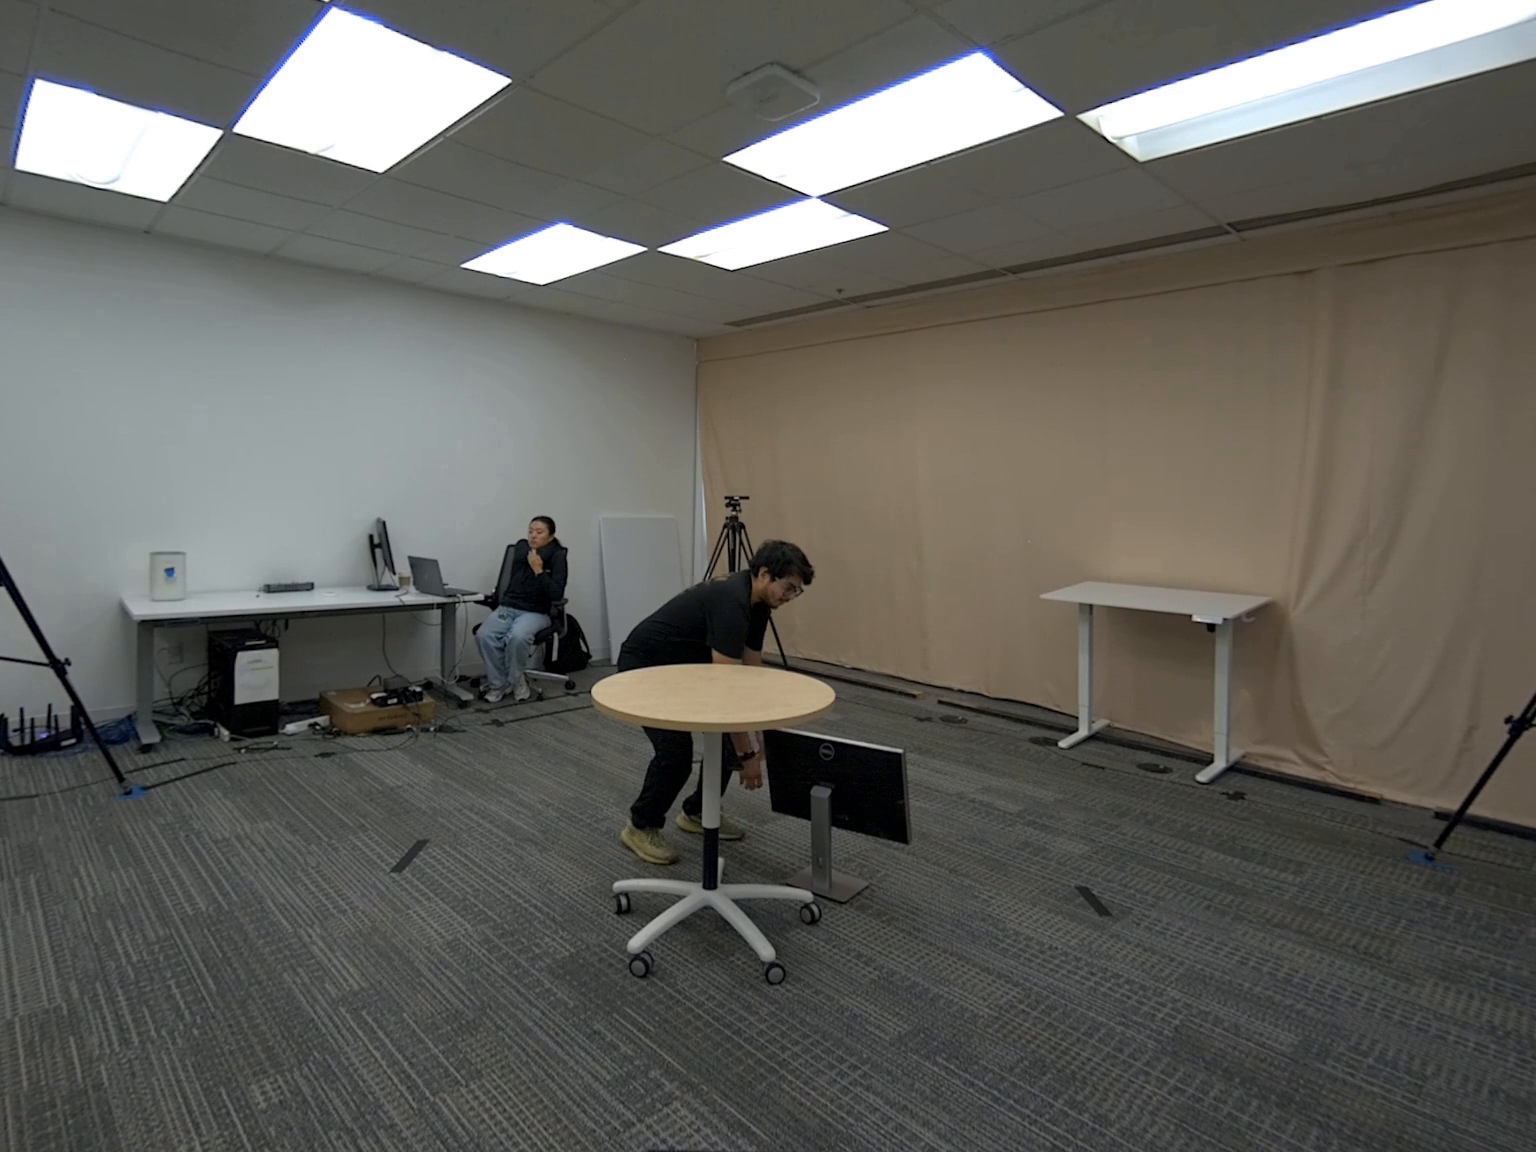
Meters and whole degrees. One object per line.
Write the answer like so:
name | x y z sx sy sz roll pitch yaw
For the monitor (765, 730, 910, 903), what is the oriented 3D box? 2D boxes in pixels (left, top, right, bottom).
monitor | 0.205 0.854 3.009 0.578 0.550 0.207 4 10 33
